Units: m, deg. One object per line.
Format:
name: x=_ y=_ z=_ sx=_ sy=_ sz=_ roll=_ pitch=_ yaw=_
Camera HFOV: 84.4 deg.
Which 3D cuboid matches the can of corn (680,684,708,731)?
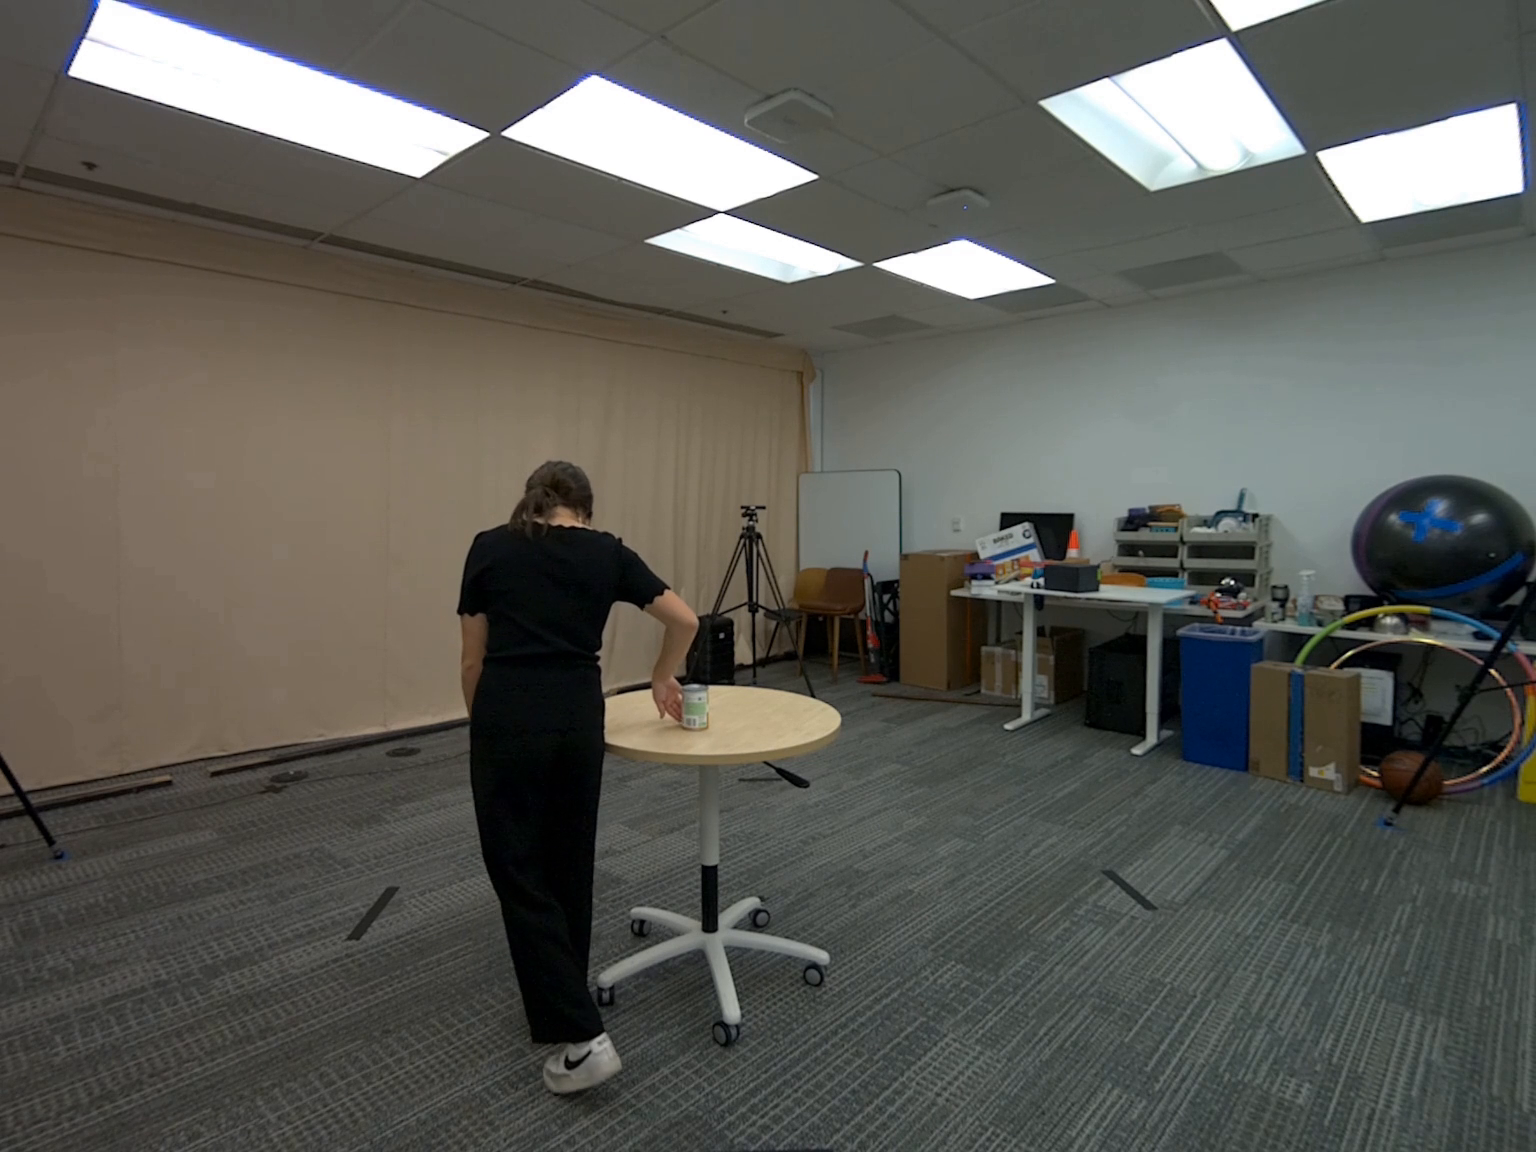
can of corn: x=-0.198 y=0.364 z=2.303 sx=0.074 sy=0.110 sz=0.074 roll=0 pitch=6 yaw=-2
